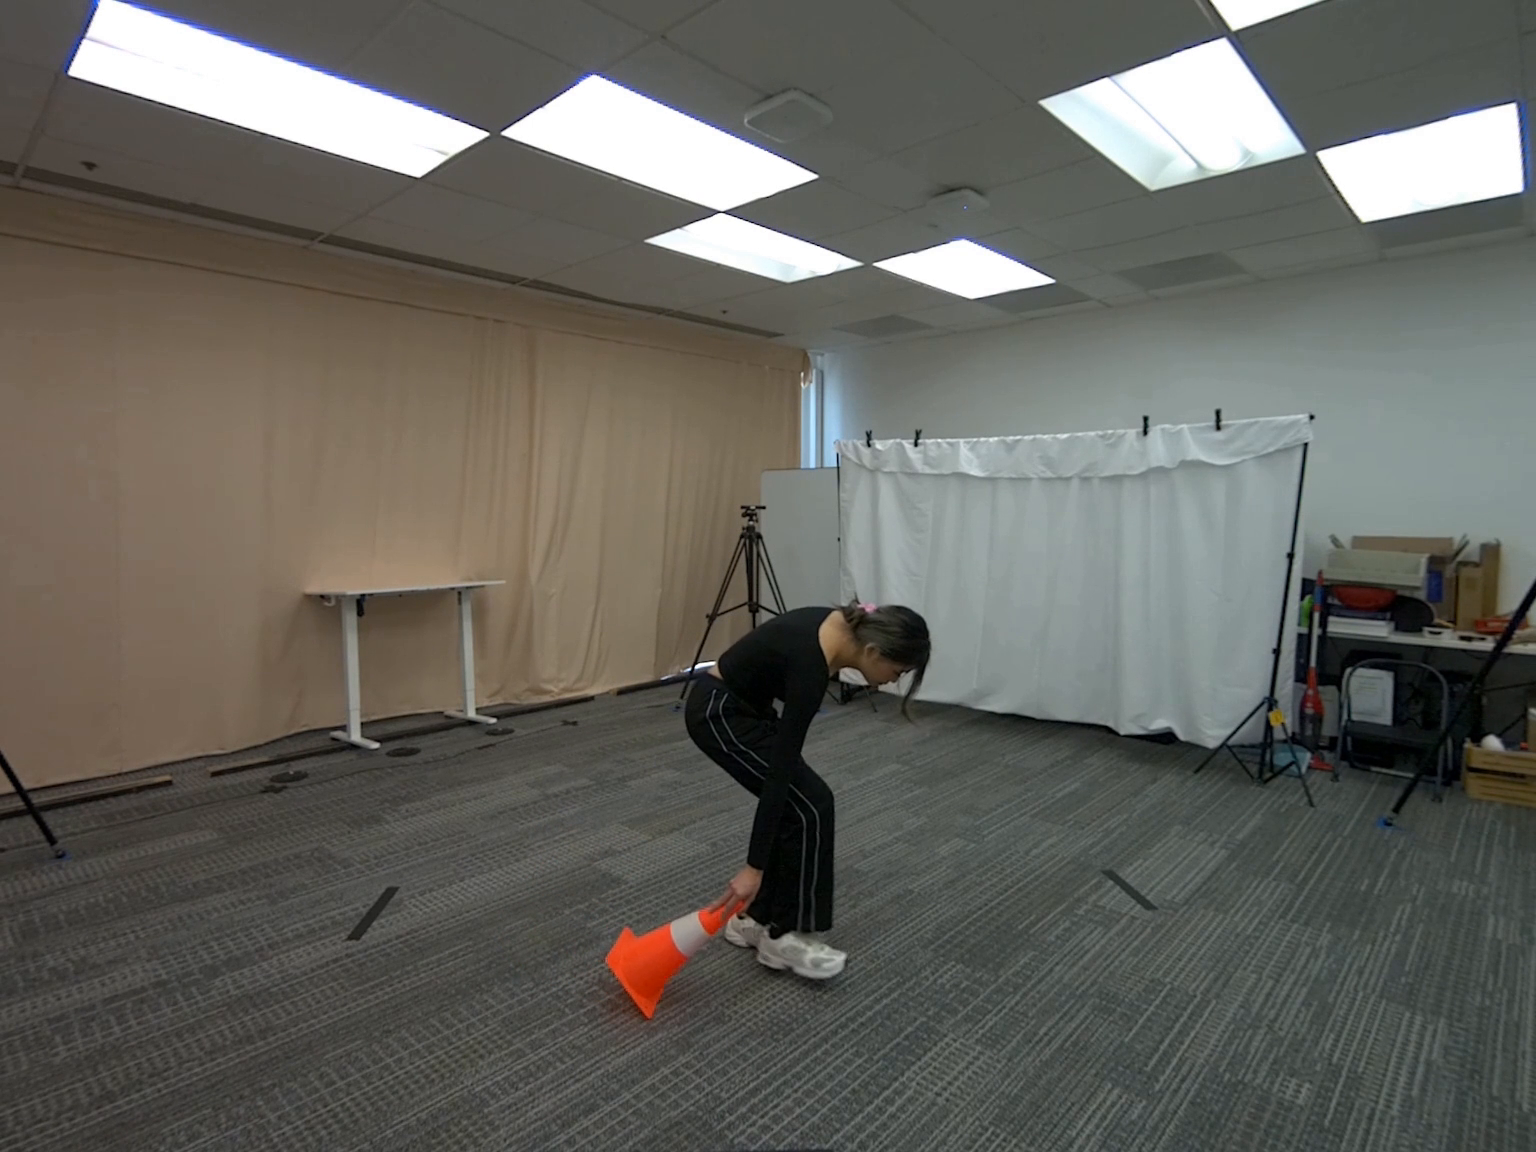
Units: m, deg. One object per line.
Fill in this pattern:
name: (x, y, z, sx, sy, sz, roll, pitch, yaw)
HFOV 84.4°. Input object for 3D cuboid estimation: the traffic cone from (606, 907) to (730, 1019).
traffic cone: (-0.220, 1.006, 2.340, 0.385, 0.205, 0.203, -39, -4, 11)
